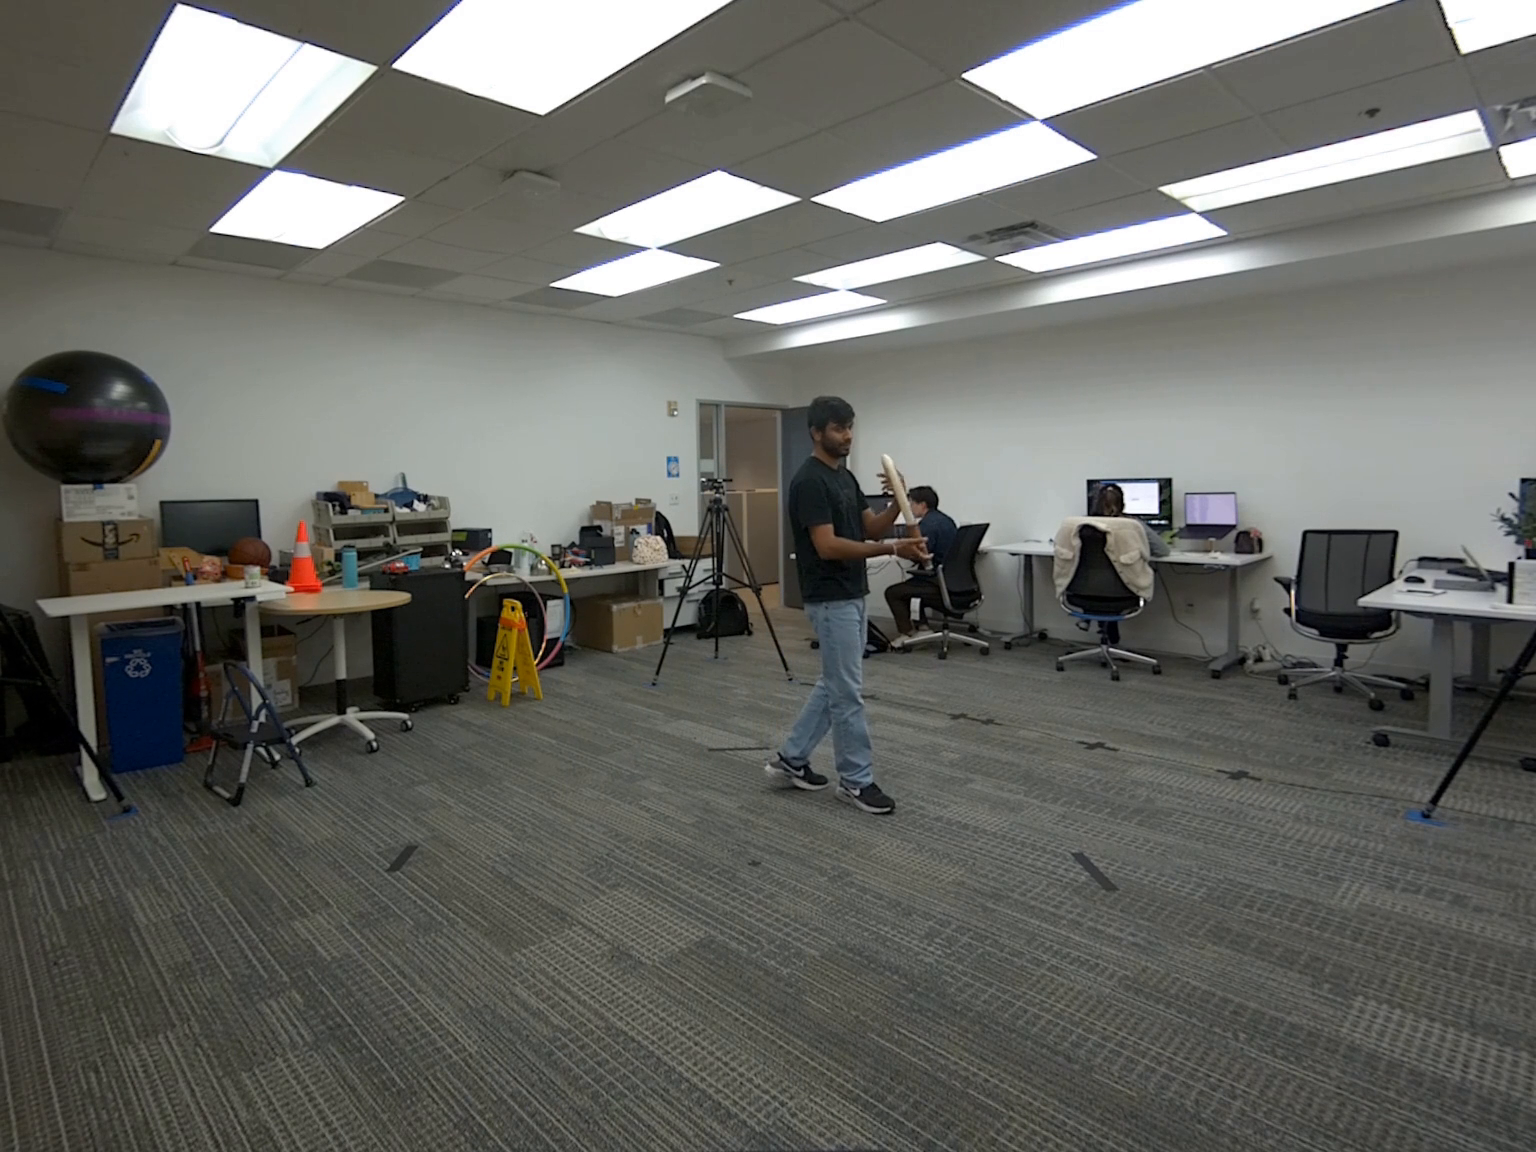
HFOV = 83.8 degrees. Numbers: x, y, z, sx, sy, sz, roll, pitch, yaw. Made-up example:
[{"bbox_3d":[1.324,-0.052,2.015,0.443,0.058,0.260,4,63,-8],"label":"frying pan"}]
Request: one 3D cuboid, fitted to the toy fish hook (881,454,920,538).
[{"bbox_3d":[0.569,-0.256,3.522,0.048,0.506,0.224,-19,1,7],"label":"toy fish hook"}]
